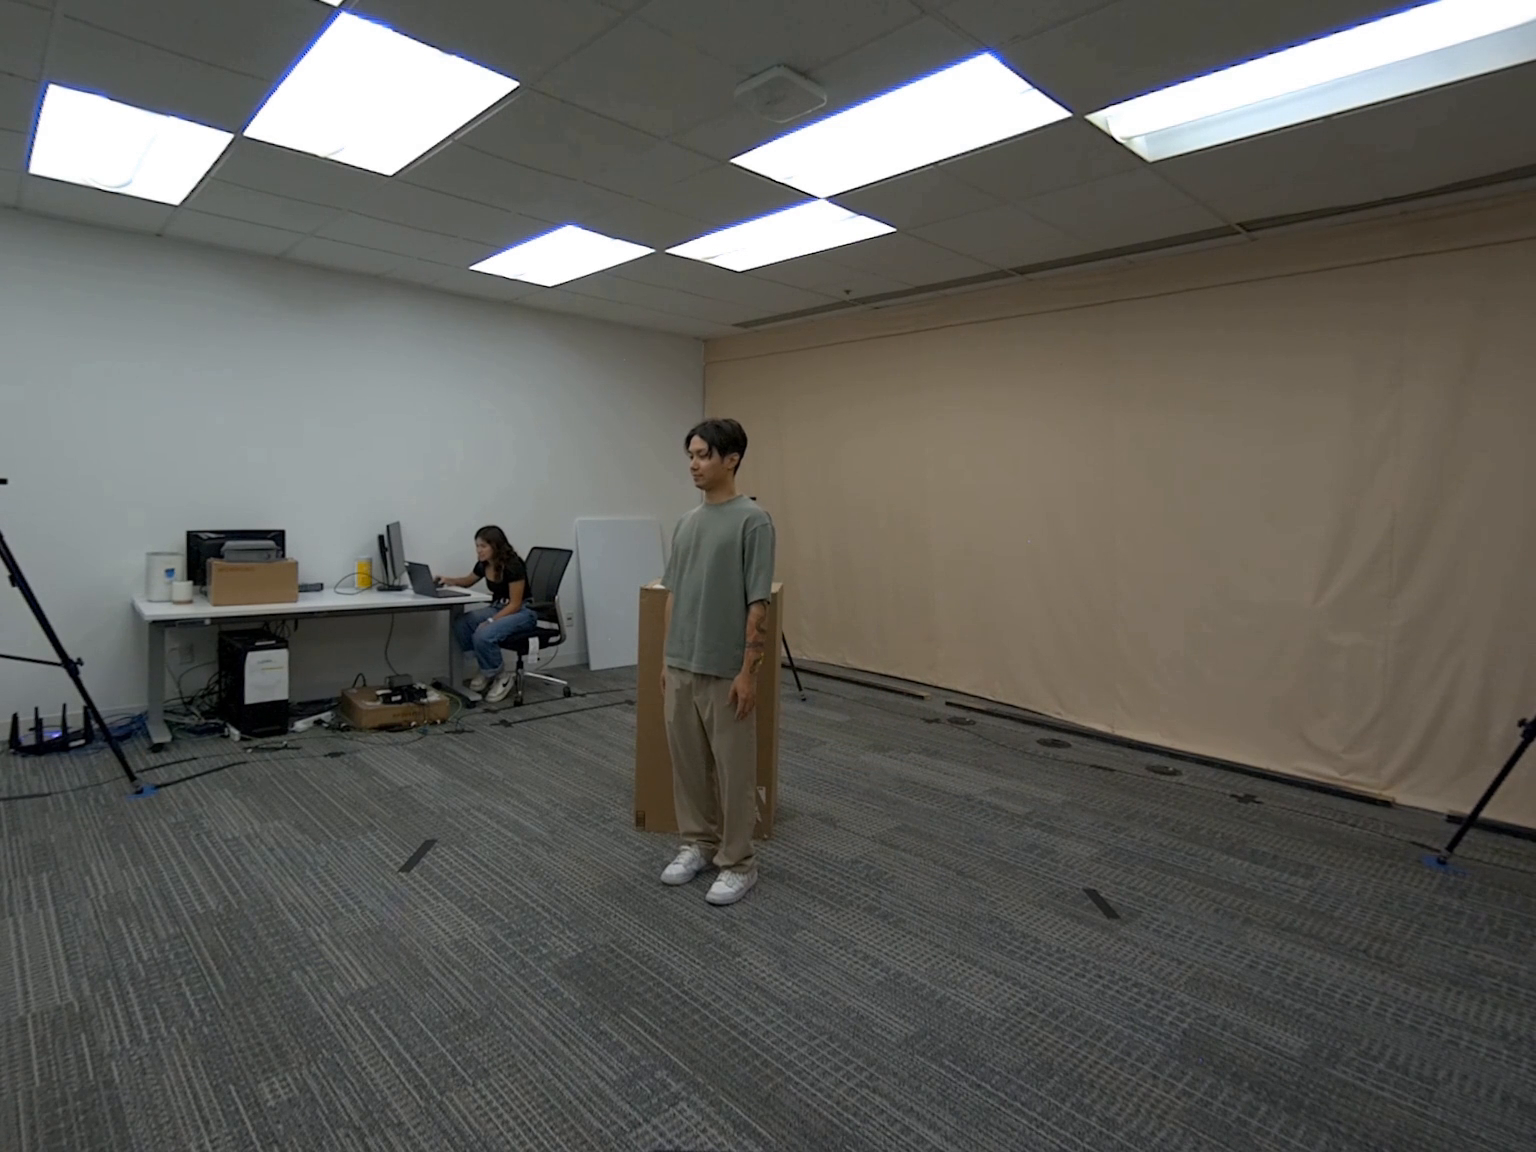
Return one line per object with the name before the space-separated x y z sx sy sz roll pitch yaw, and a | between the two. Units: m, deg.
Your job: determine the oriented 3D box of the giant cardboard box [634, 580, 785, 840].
giant cardboard box | -0.255 0.543 3.660 0.580 1.023 0.425 2 3 5
